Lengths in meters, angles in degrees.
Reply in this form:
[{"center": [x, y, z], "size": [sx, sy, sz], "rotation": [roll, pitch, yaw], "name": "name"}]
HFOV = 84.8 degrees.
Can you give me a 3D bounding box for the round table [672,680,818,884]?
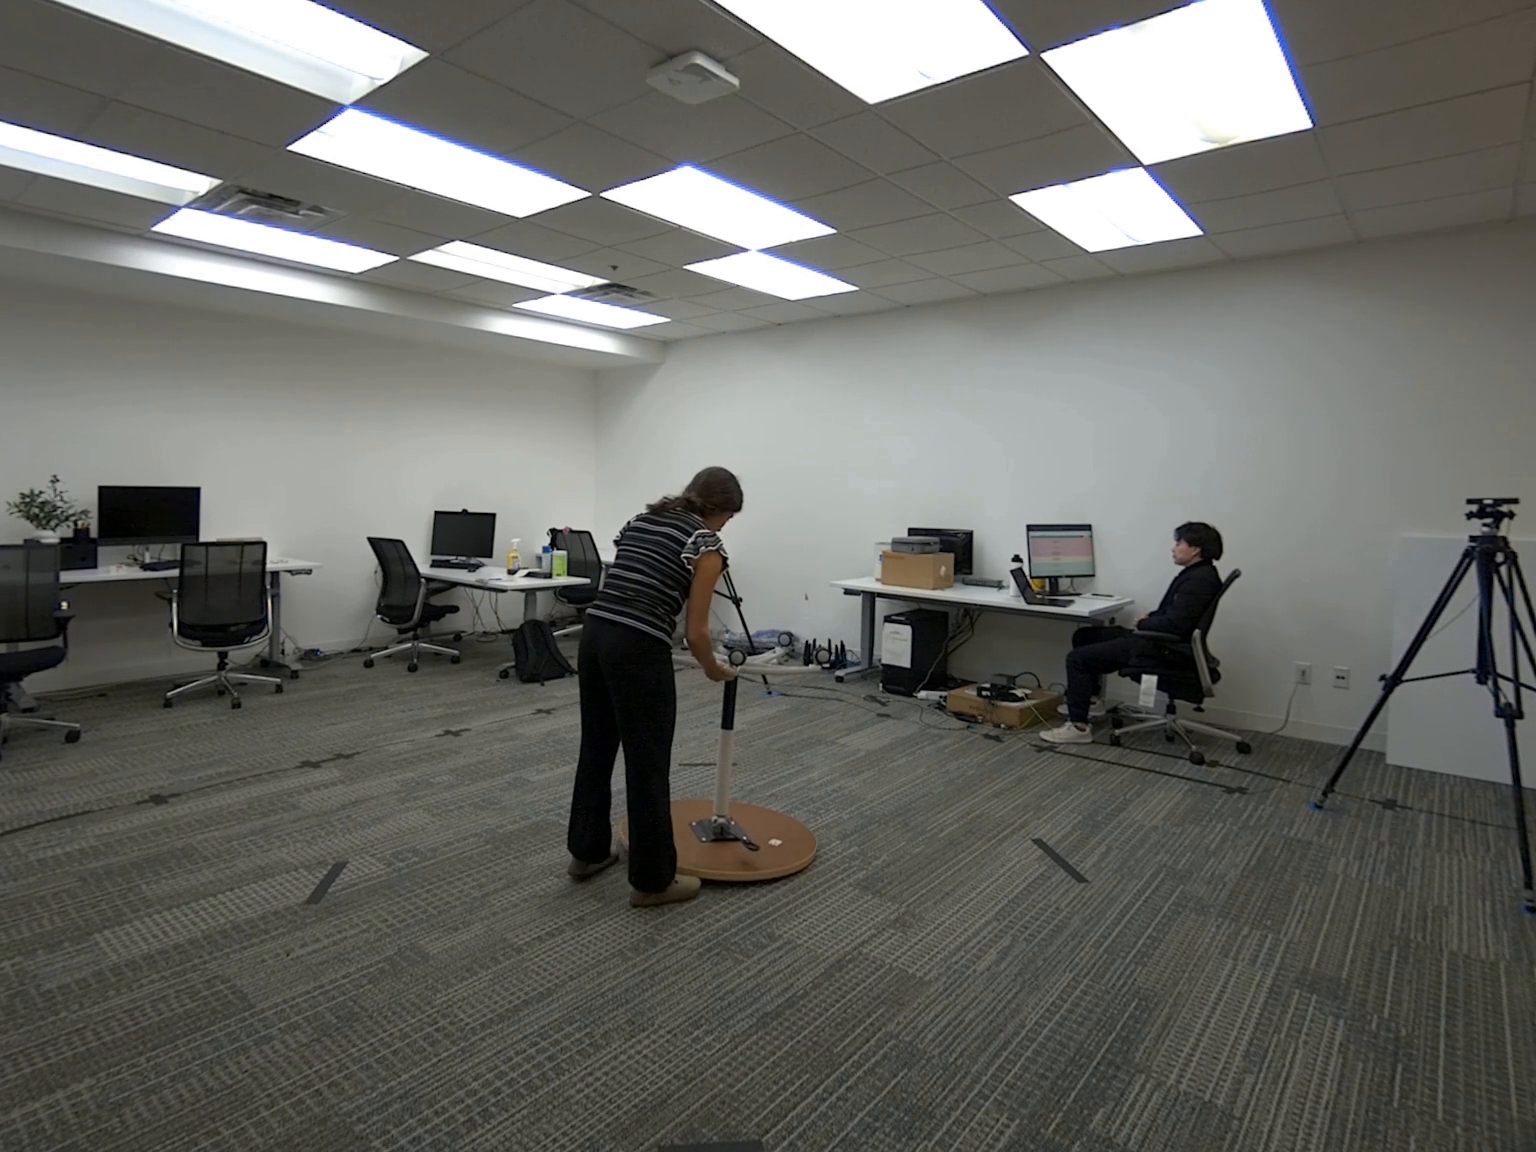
[{"center": [-0.174, 0.633, 3.318], "size": [0.763, 0.793, 0.766], "rotation": [4, 2, -2], "name": "round table"}]
